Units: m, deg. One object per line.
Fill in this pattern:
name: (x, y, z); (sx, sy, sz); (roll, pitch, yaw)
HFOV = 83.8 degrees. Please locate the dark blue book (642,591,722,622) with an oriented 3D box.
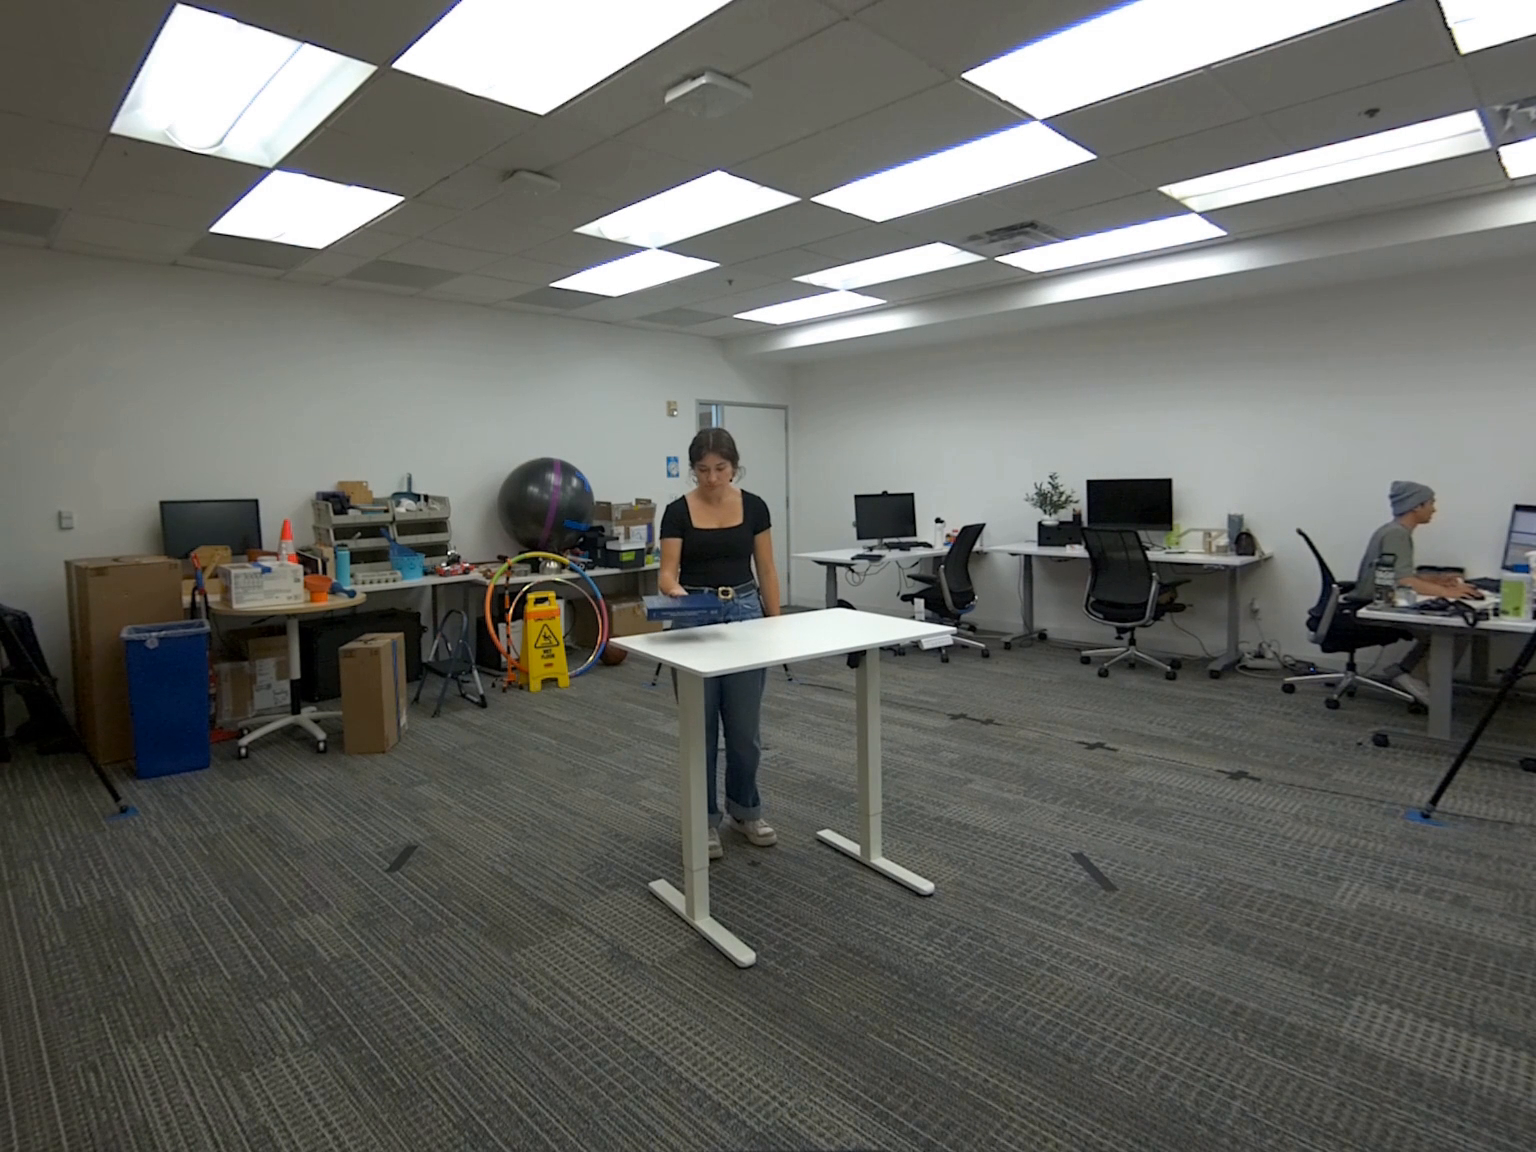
dark blue book: (-0.285, 0.109, 2.781); (0.244, 0.045, 0.166); (-1, 12, -5)
